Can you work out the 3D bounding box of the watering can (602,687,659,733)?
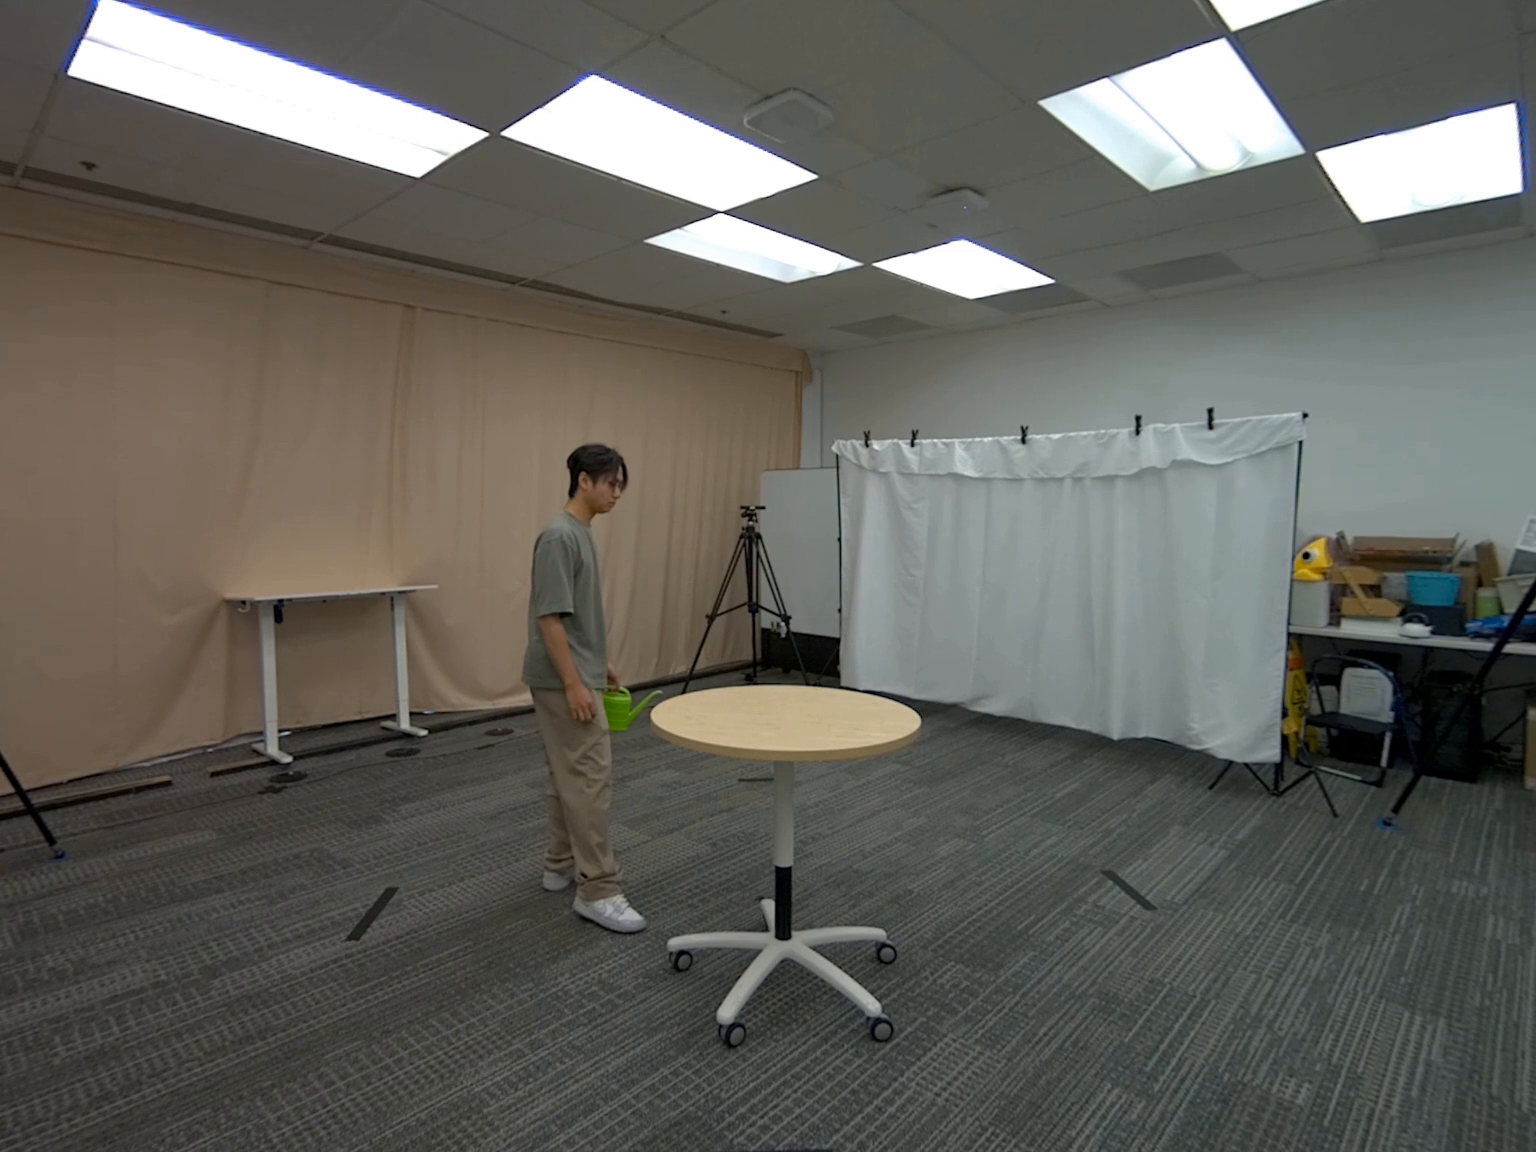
[{"bbox_3d":[-0.577,0.537,3.384,0.279,0.176,0.098,7,4,3],"label":"watering can"}]
